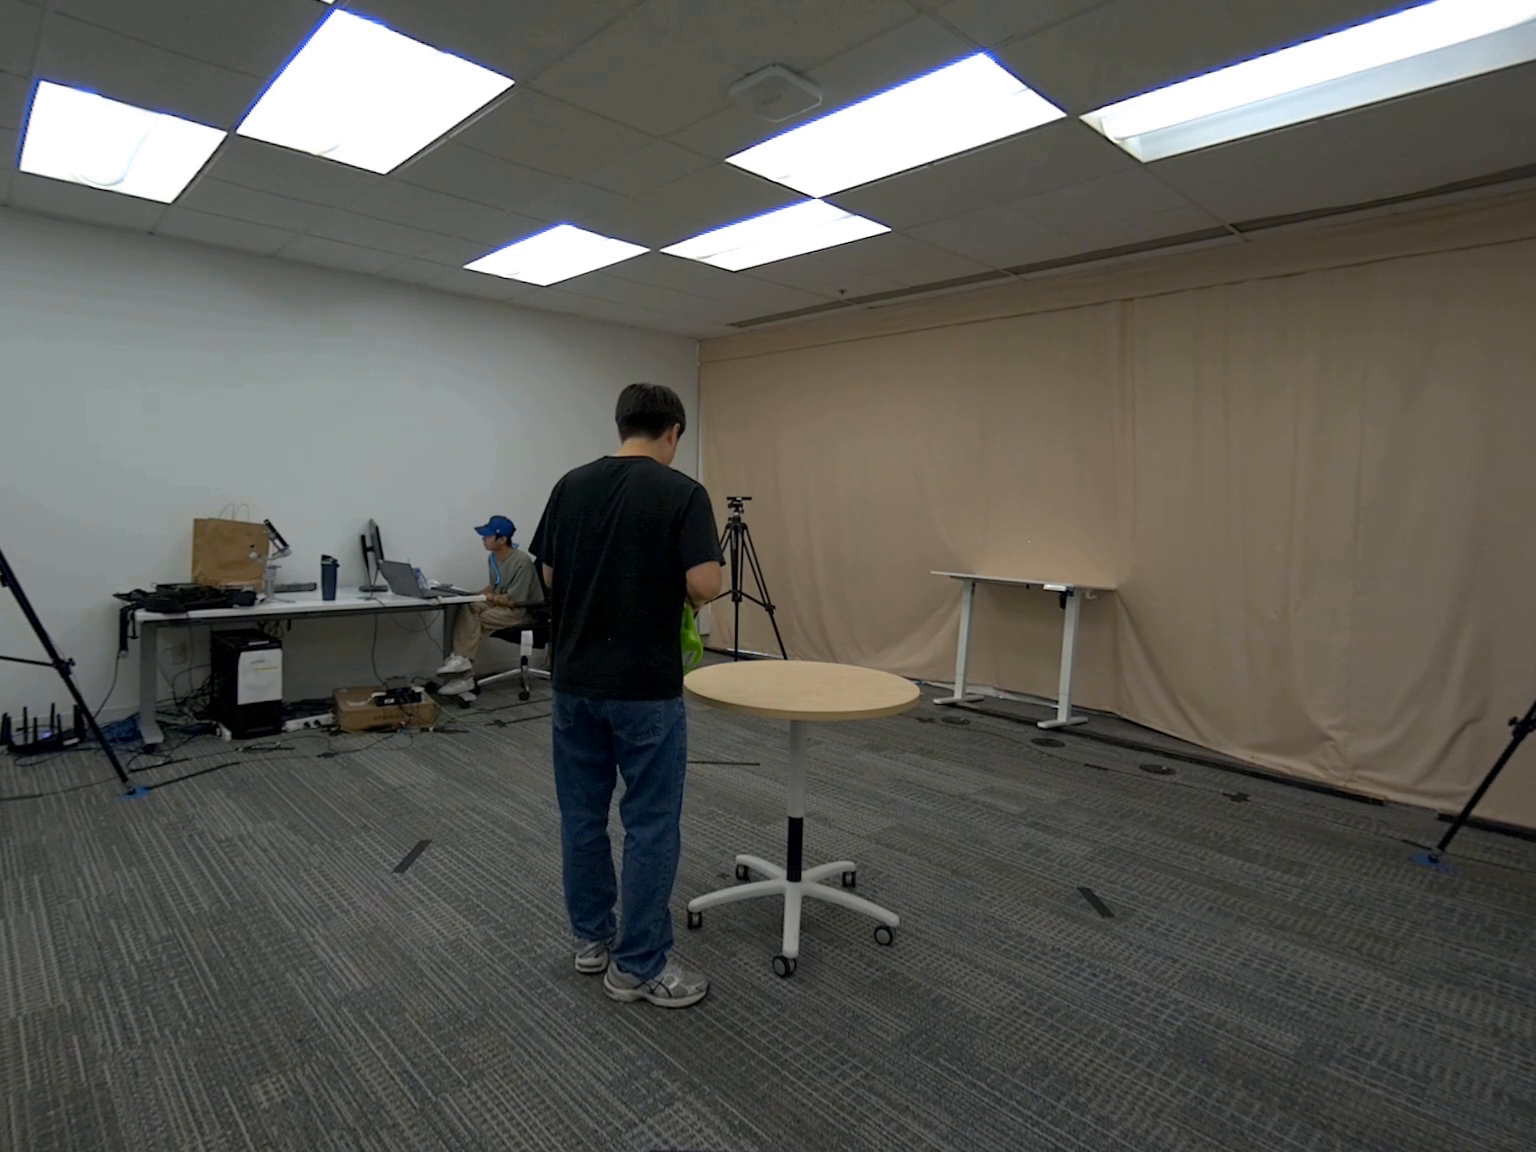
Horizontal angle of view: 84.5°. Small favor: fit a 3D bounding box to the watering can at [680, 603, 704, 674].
[{"bbox_3d":[-0.268,0.210,2.514,0.097,0.273,0.182,-4,45,-15],"label":"watering can"}]
